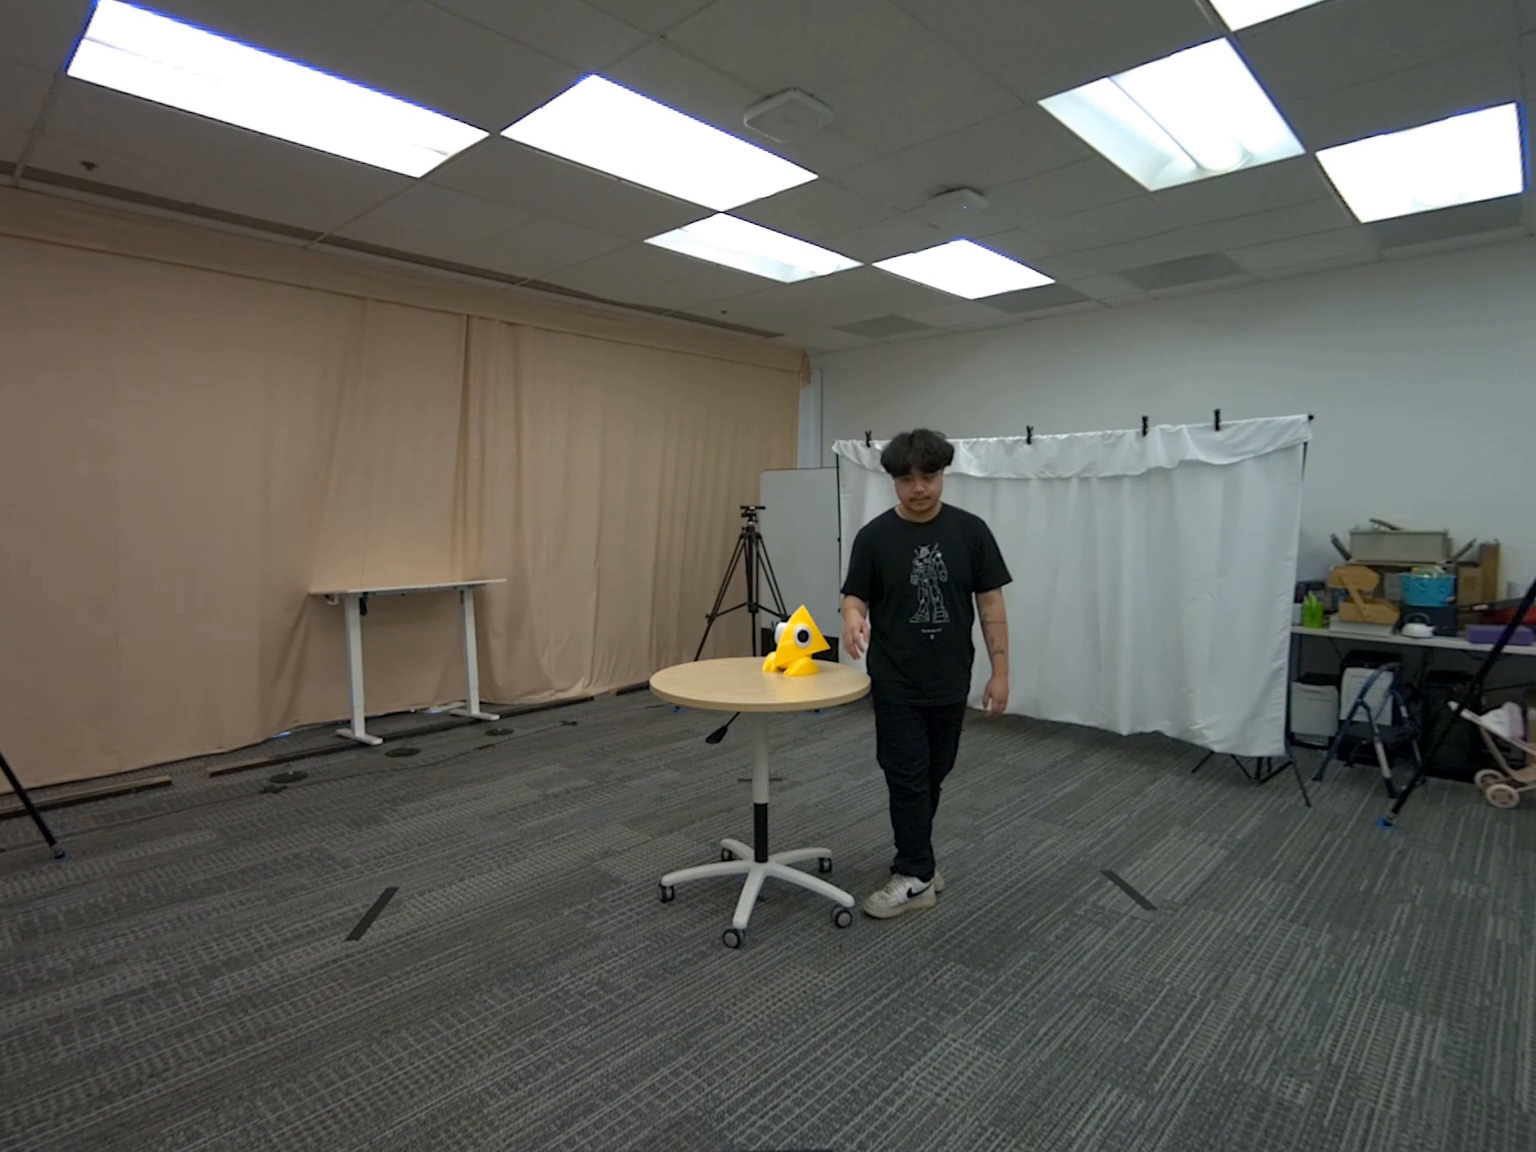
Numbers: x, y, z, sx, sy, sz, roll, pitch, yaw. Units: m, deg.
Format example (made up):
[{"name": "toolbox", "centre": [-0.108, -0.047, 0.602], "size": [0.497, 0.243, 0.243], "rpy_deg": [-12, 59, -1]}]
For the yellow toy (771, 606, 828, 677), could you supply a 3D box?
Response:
[{"name": "yellow toy", "centre": [0.094, 0.229, 3.059], "size": [0.187, 0.230, 0.211], "rpy_deg": [-6, 6, -45]}]
